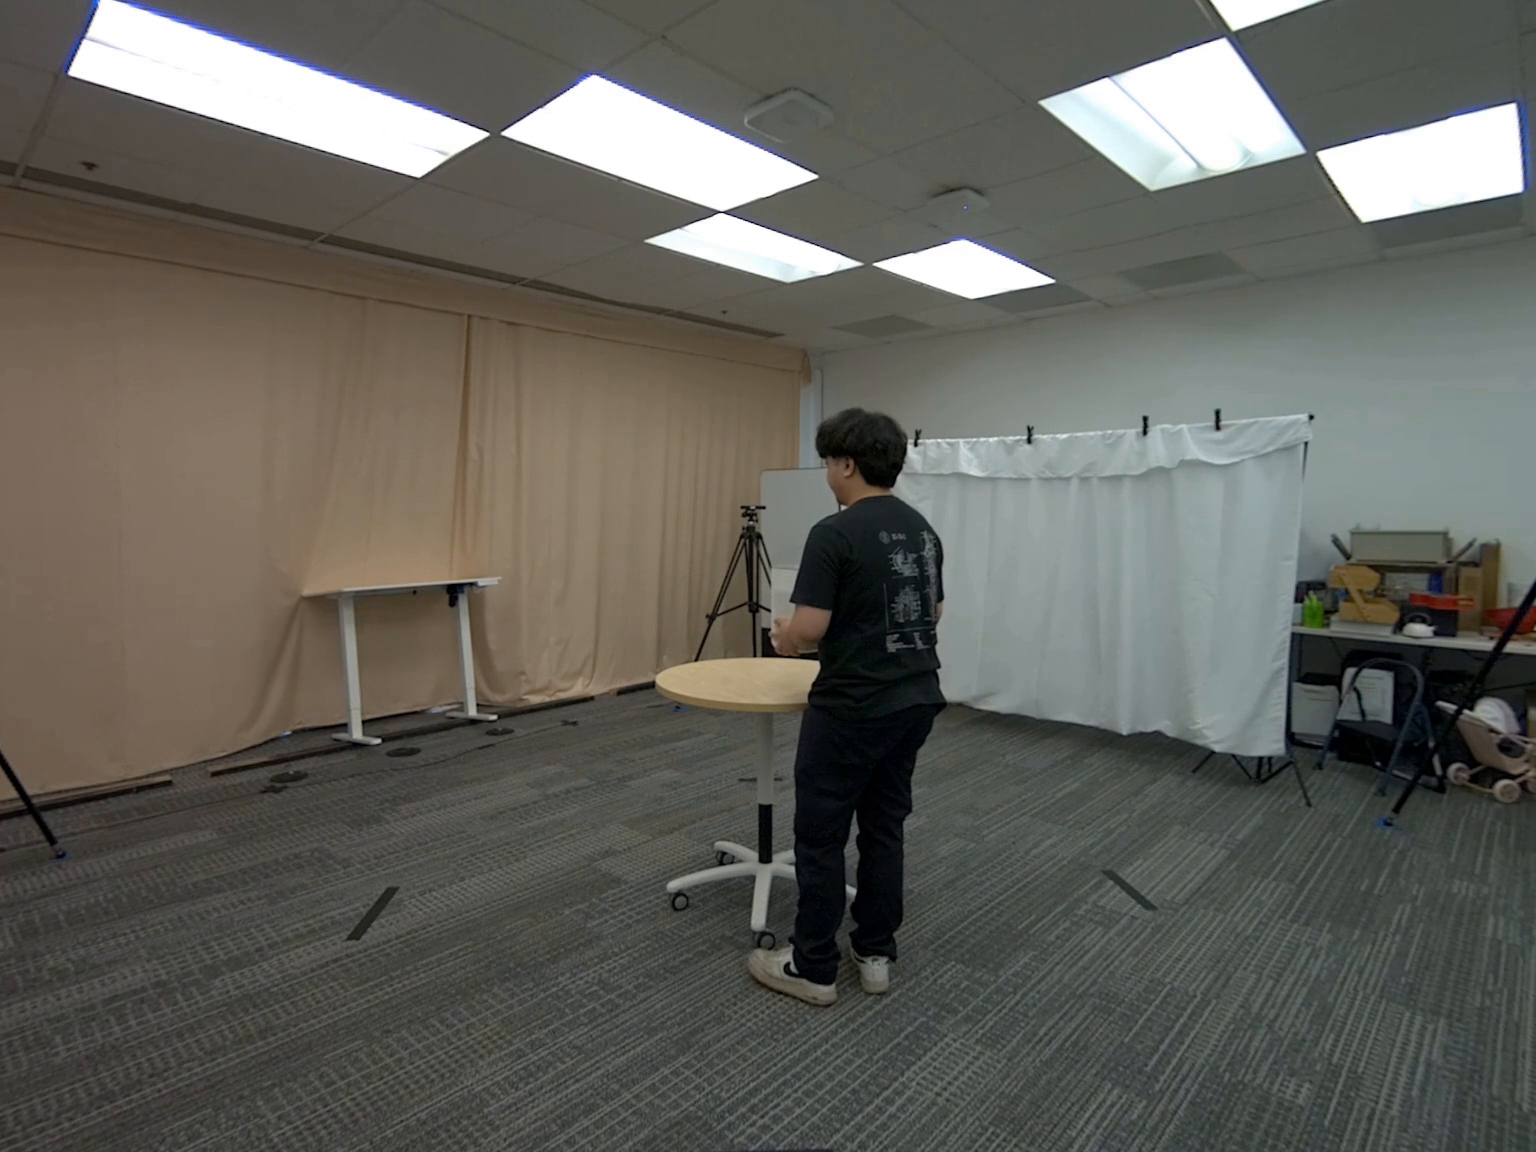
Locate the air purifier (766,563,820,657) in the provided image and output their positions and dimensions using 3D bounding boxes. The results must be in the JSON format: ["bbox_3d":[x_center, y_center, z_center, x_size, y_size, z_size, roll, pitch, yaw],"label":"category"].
[{"bbox_3d":[0.116,0.099,2.674,0.166,0.265,0.177,-3,4,-44],"label":"air purifier"}]
